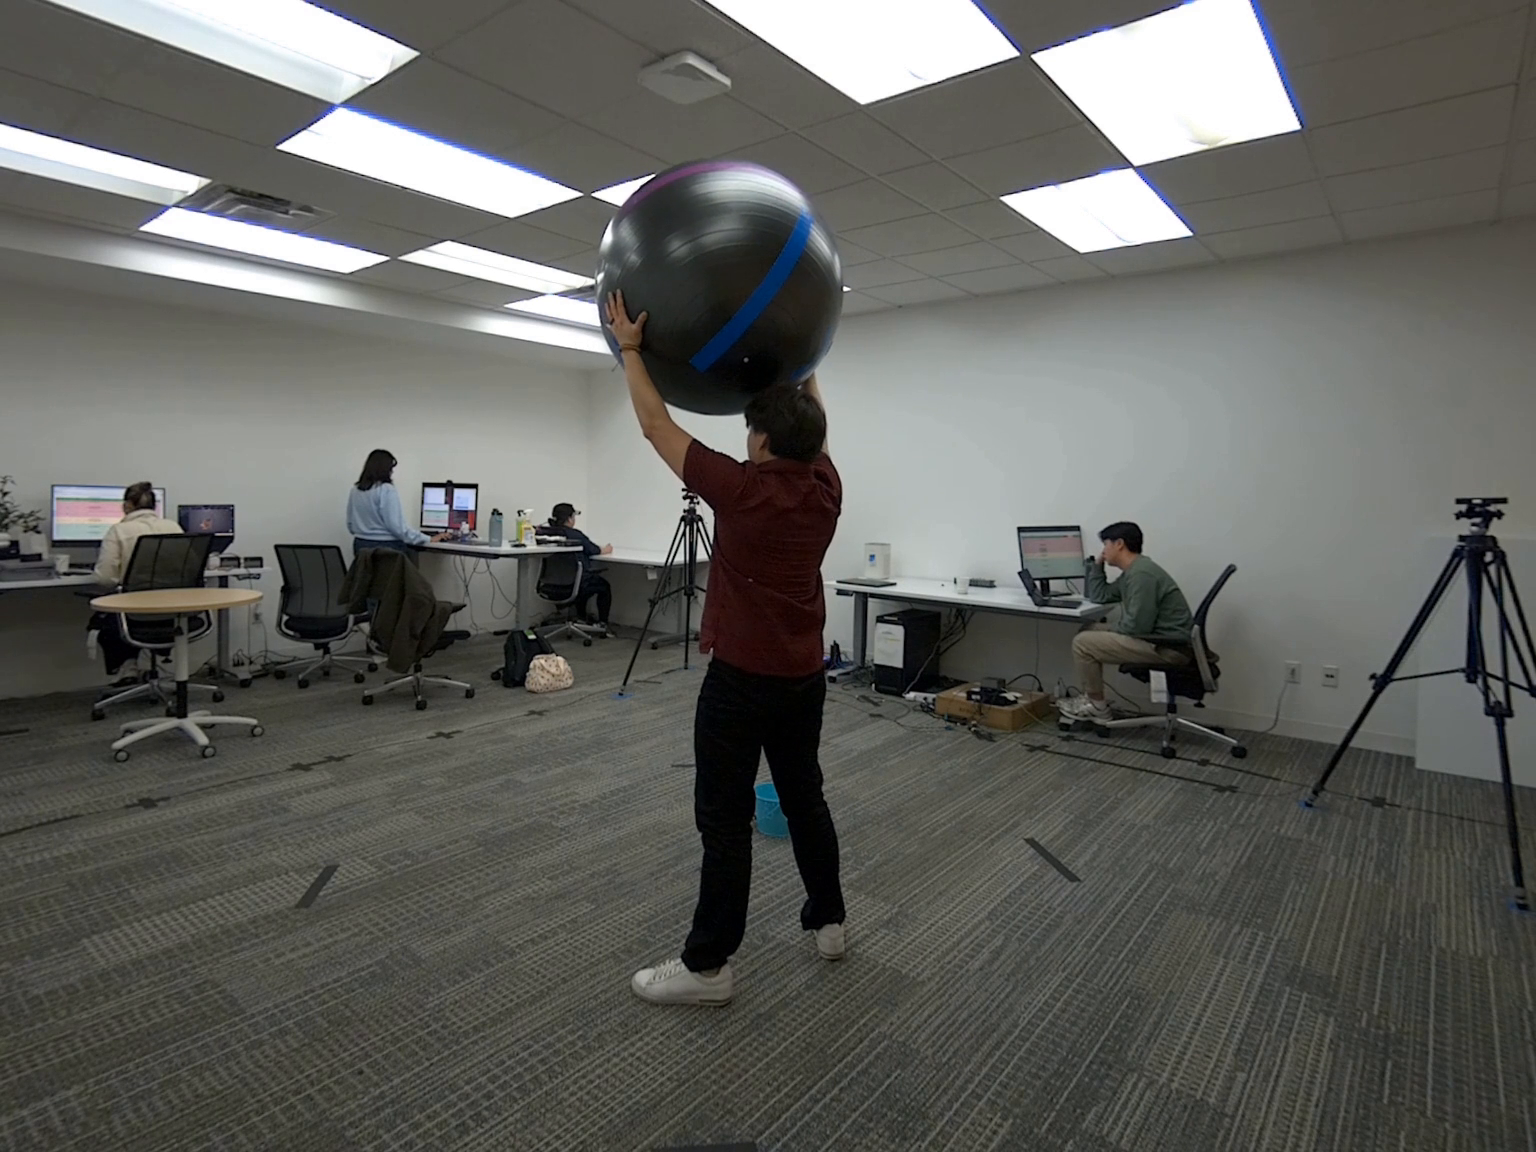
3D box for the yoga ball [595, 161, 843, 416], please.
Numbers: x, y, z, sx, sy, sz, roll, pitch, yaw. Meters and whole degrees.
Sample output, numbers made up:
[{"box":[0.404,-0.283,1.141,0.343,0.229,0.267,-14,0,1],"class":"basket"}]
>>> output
[{"box":[-0.163,-0.870,2.621,0.757,0.756,0.762,1,4,-2],"class":"yoga ball"}]
